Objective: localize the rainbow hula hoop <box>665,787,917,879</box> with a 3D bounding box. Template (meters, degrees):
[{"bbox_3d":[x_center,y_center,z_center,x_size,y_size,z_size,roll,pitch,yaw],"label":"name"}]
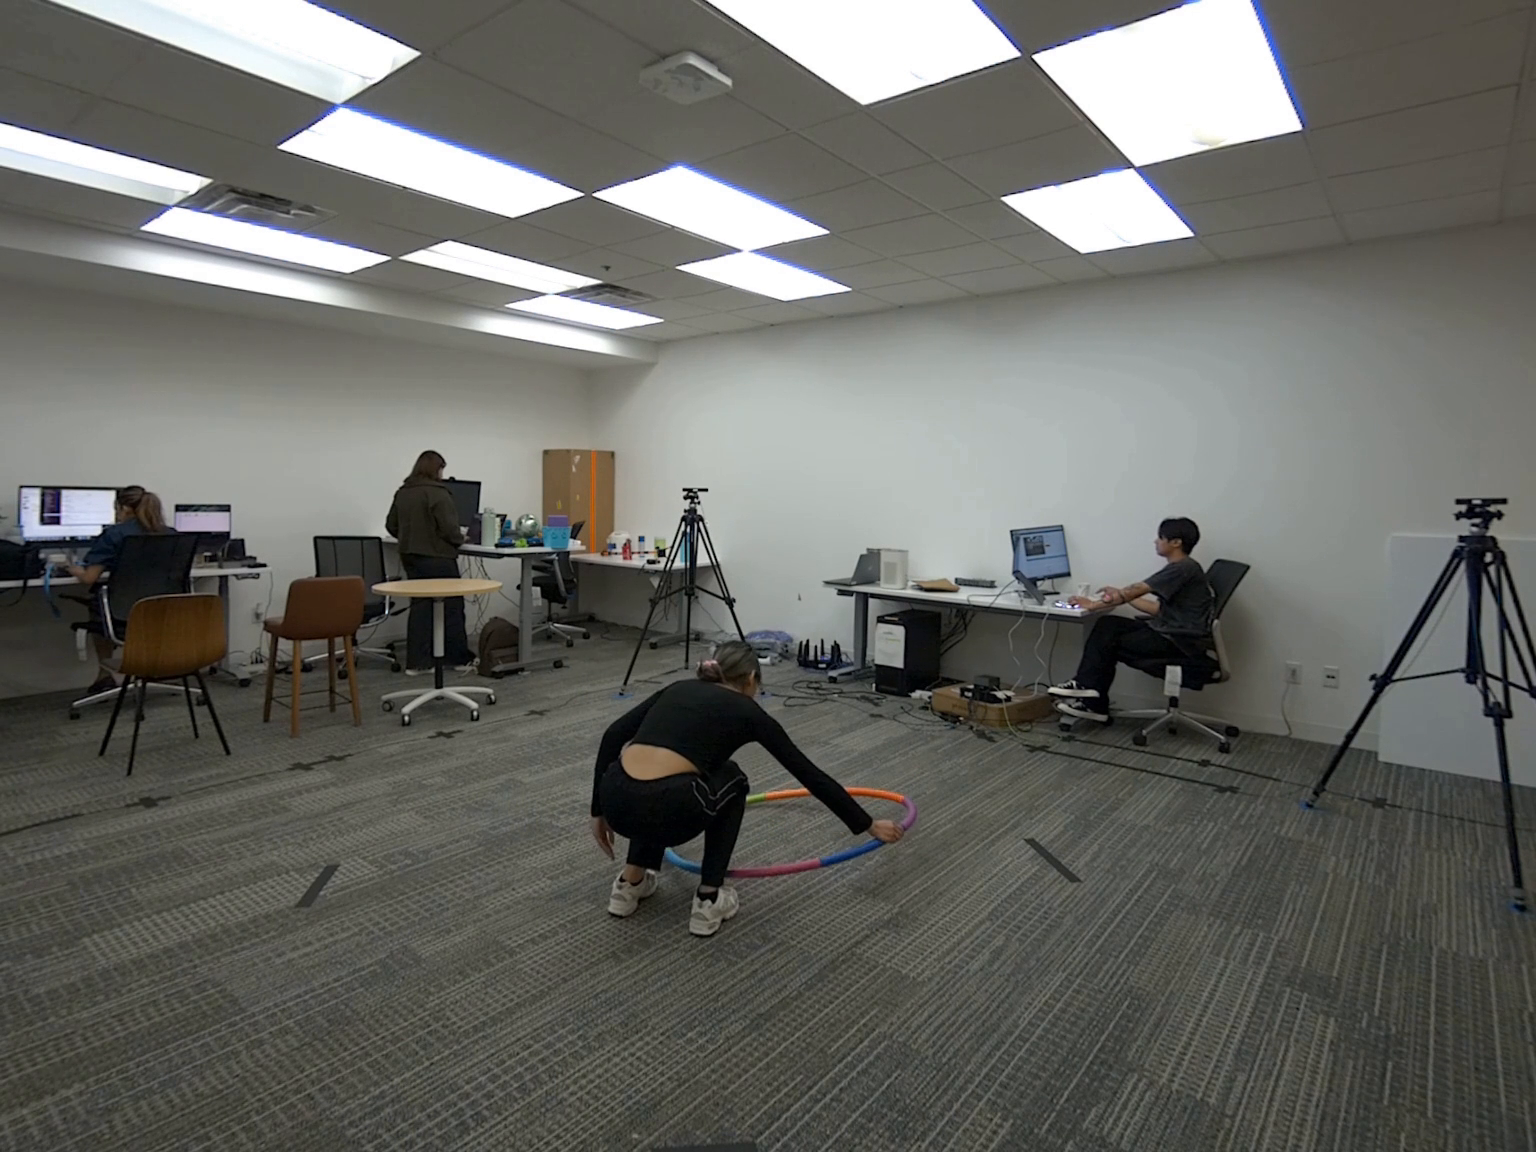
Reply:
[{"bbox_3d":[0.075,0.946,3.279,0.978,0.035,0.979,-8,1,-2],"label":"rainbow hula hoop"}]
